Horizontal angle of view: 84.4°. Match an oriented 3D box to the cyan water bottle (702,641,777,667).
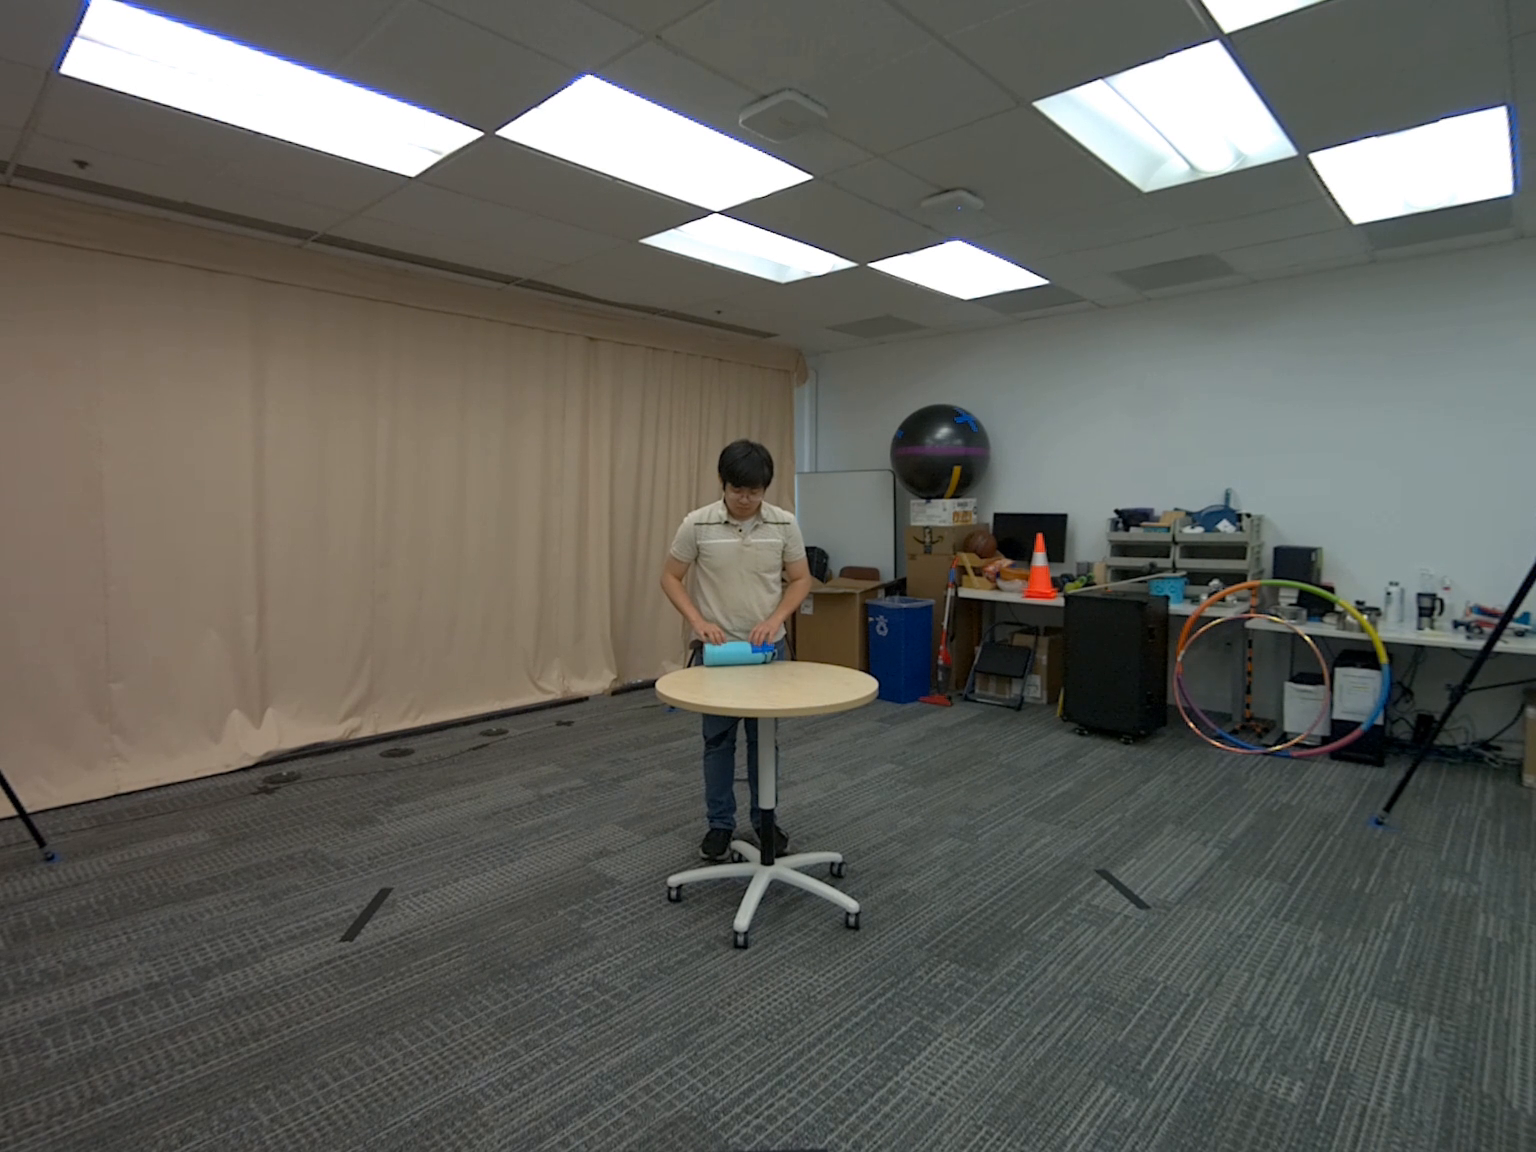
[{"bbox_3d":[-0.108,0.296,3.232,0.281,0.092,0.093,0,4,-8],"label":"cyan water bottle"}]
